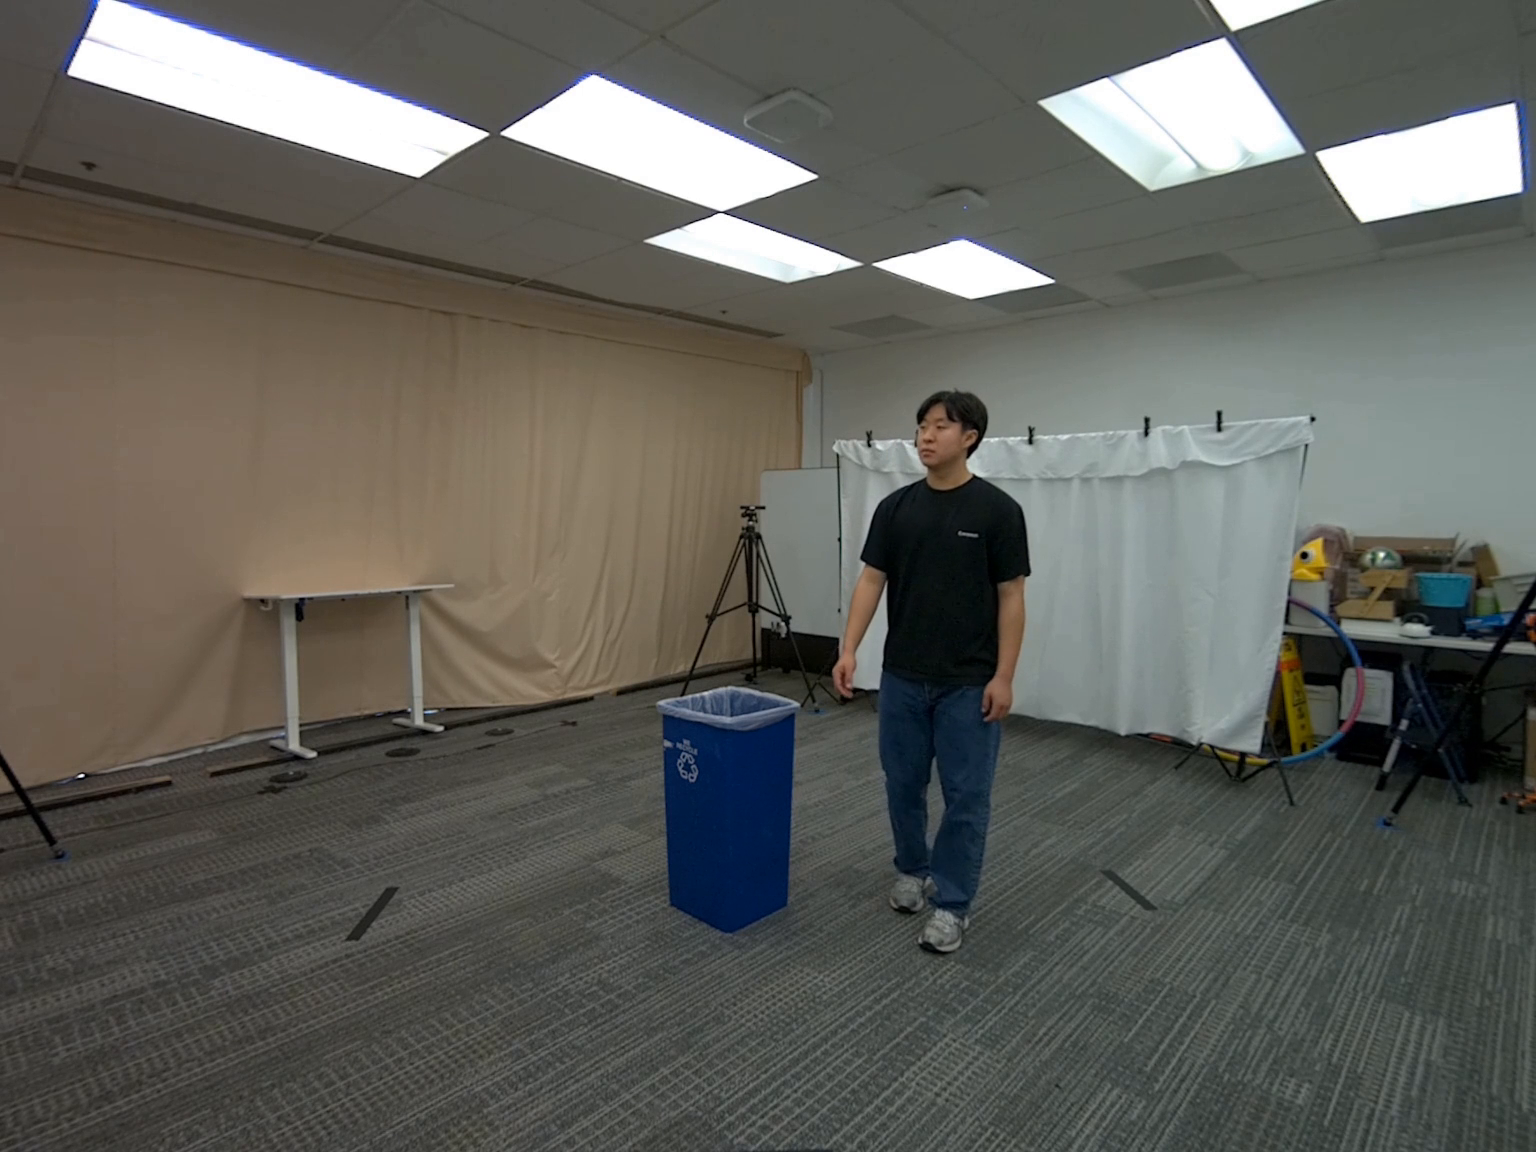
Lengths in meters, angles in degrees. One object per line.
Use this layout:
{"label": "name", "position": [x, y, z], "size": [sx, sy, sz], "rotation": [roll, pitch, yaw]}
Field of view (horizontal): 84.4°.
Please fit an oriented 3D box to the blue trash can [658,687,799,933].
{"label": "blue trash can", "position": [-0.127, 0.791, 2.924], "size": [0.386, 0.712, 0.366], "rotation": [3, 4, 44]}
